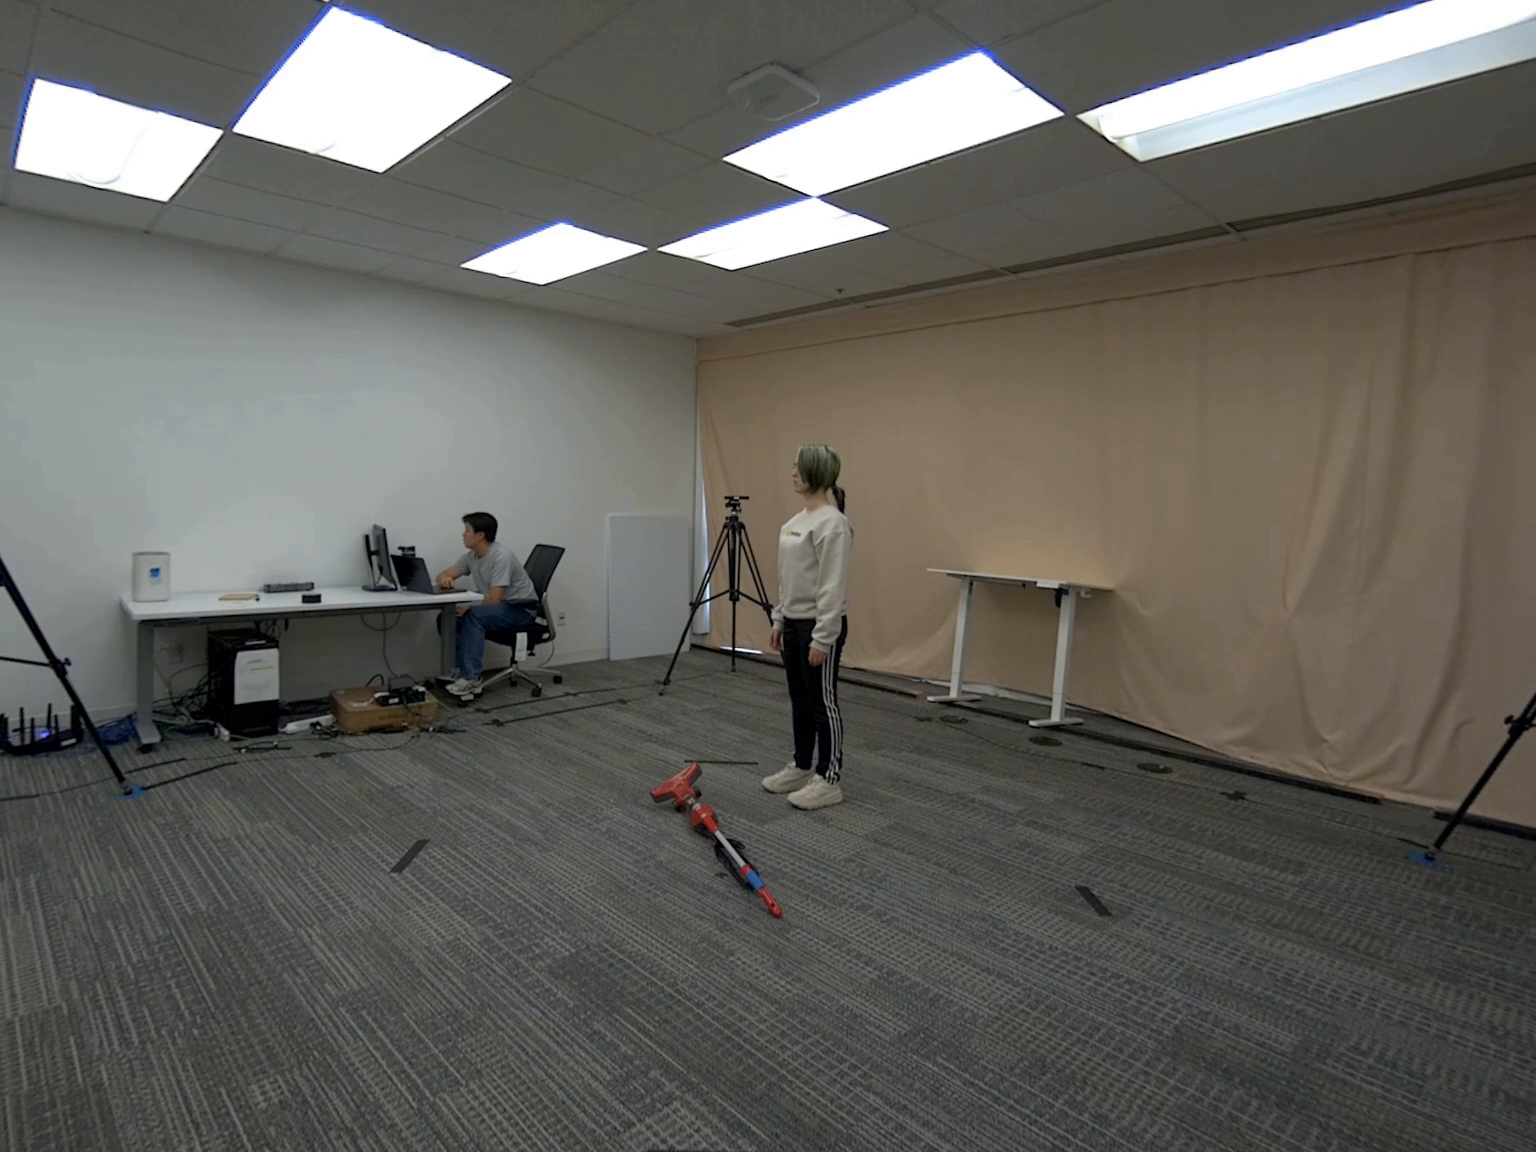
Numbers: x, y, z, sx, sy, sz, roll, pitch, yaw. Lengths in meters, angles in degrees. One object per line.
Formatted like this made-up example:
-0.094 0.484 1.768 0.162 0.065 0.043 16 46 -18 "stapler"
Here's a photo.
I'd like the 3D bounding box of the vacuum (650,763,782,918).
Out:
-0.187 1.038 3.286 0.251 0.141 1.072 -33 20 -14 "vacuum"
